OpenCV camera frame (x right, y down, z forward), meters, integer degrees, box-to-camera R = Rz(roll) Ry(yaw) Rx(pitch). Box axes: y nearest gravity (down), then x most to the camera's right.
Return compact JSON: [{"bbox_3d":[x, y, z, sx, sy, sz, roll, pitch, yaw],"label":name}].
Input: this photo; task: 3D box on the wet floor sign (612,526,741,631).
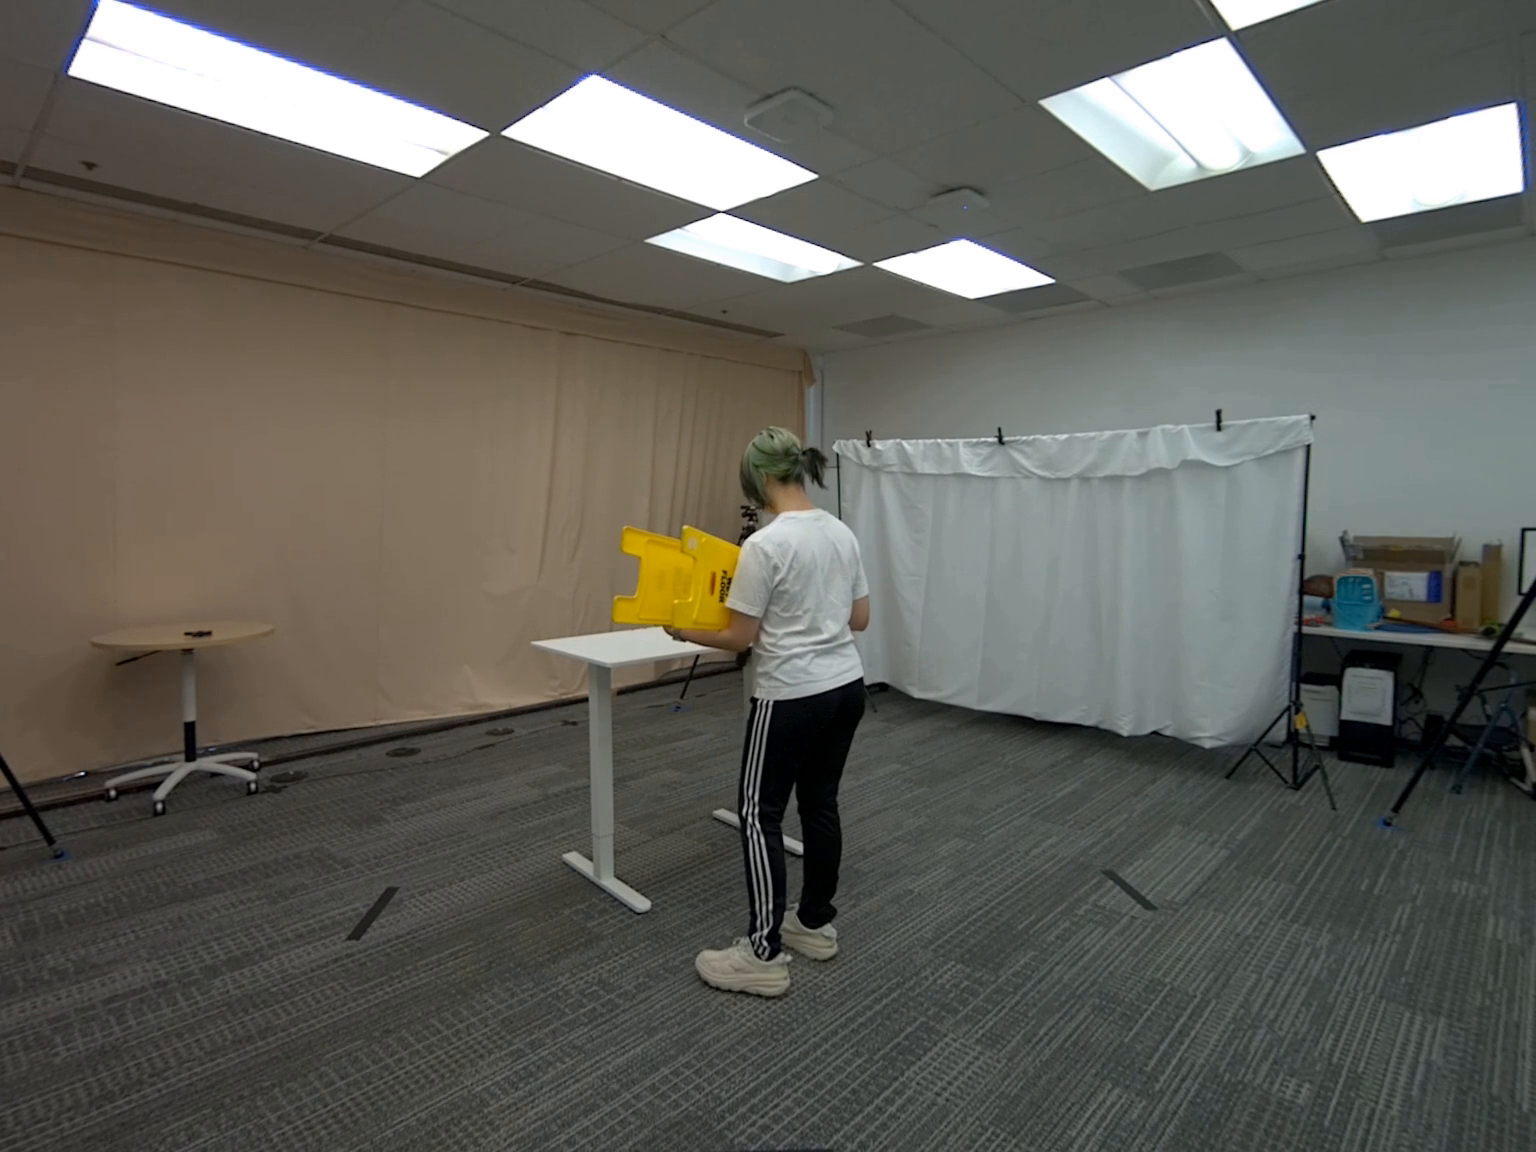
[{"bbox_3d":[-0.141,0.041,2.580,0.299,0.283,0.623,3,-7,40],"label":"wet floor sign"}]
